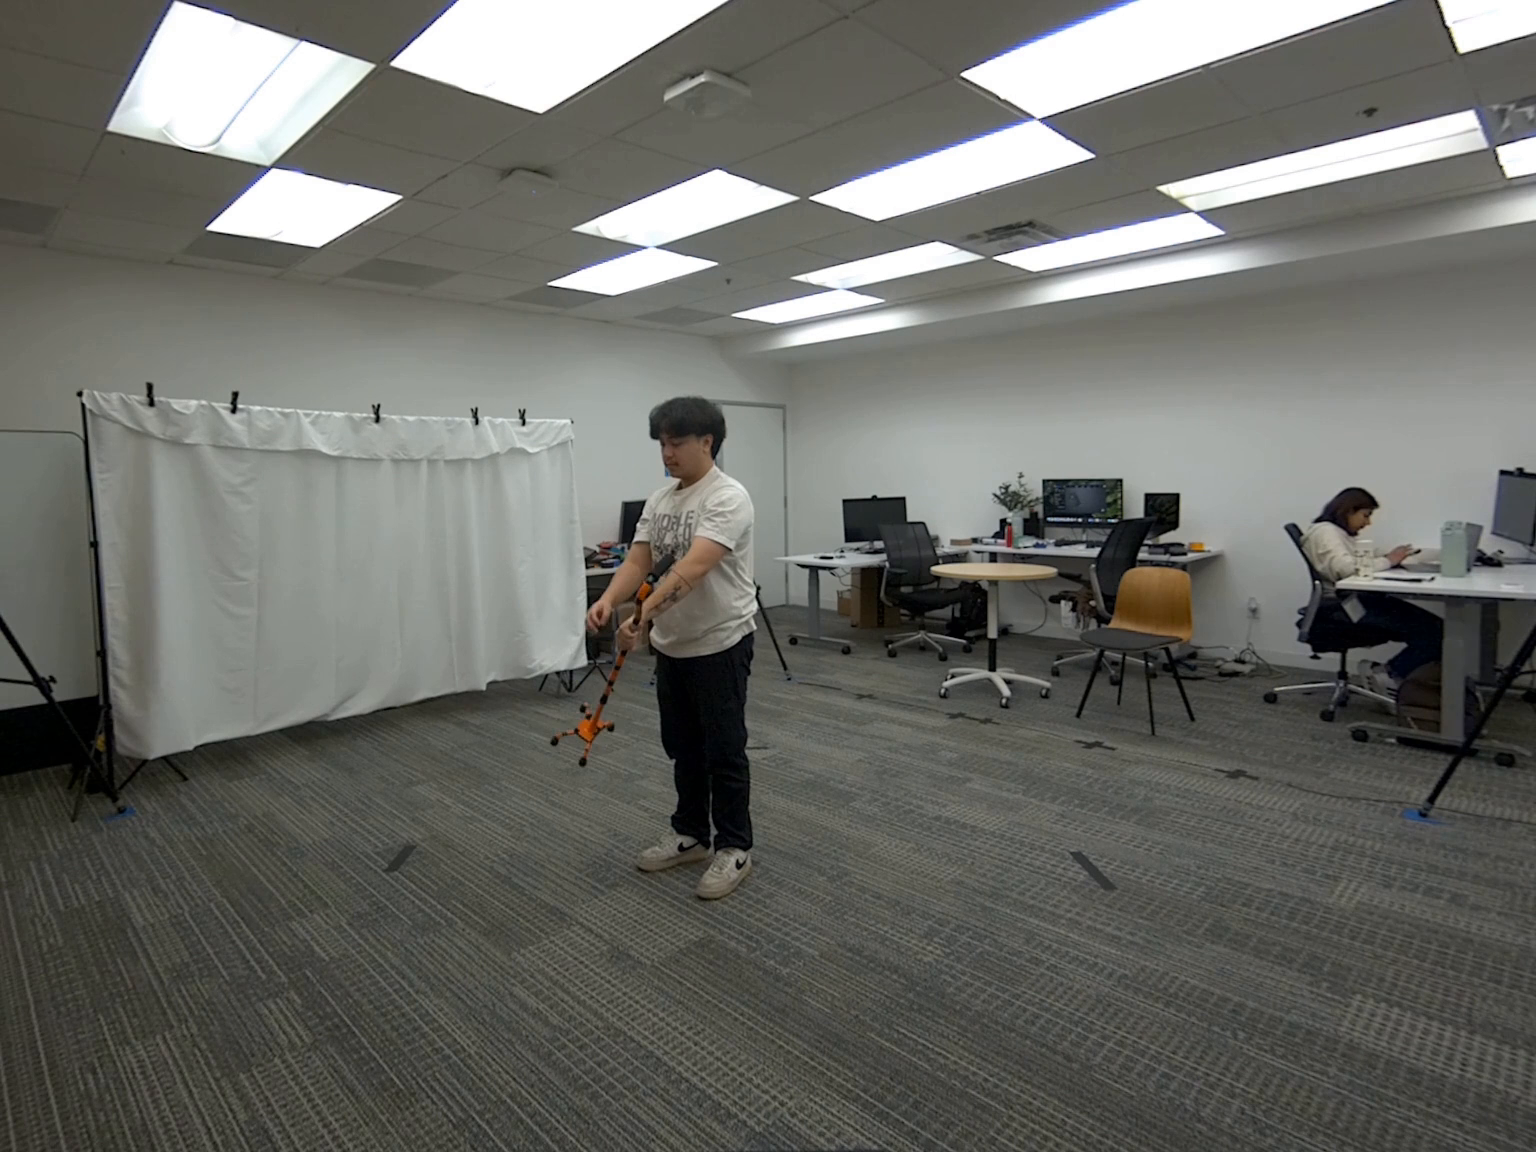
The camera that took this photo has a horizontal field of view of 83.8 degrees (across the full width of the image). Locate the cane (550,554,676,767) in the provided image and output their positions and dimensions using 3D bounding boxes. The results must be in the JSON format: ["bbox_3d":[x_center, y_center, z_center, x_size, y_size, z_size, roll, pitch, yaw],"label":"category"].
[{"bbox_3d":[-0.491,0.285,2.729,0.153,0.897,0.207,33,43,5],"label":"cane"}]
